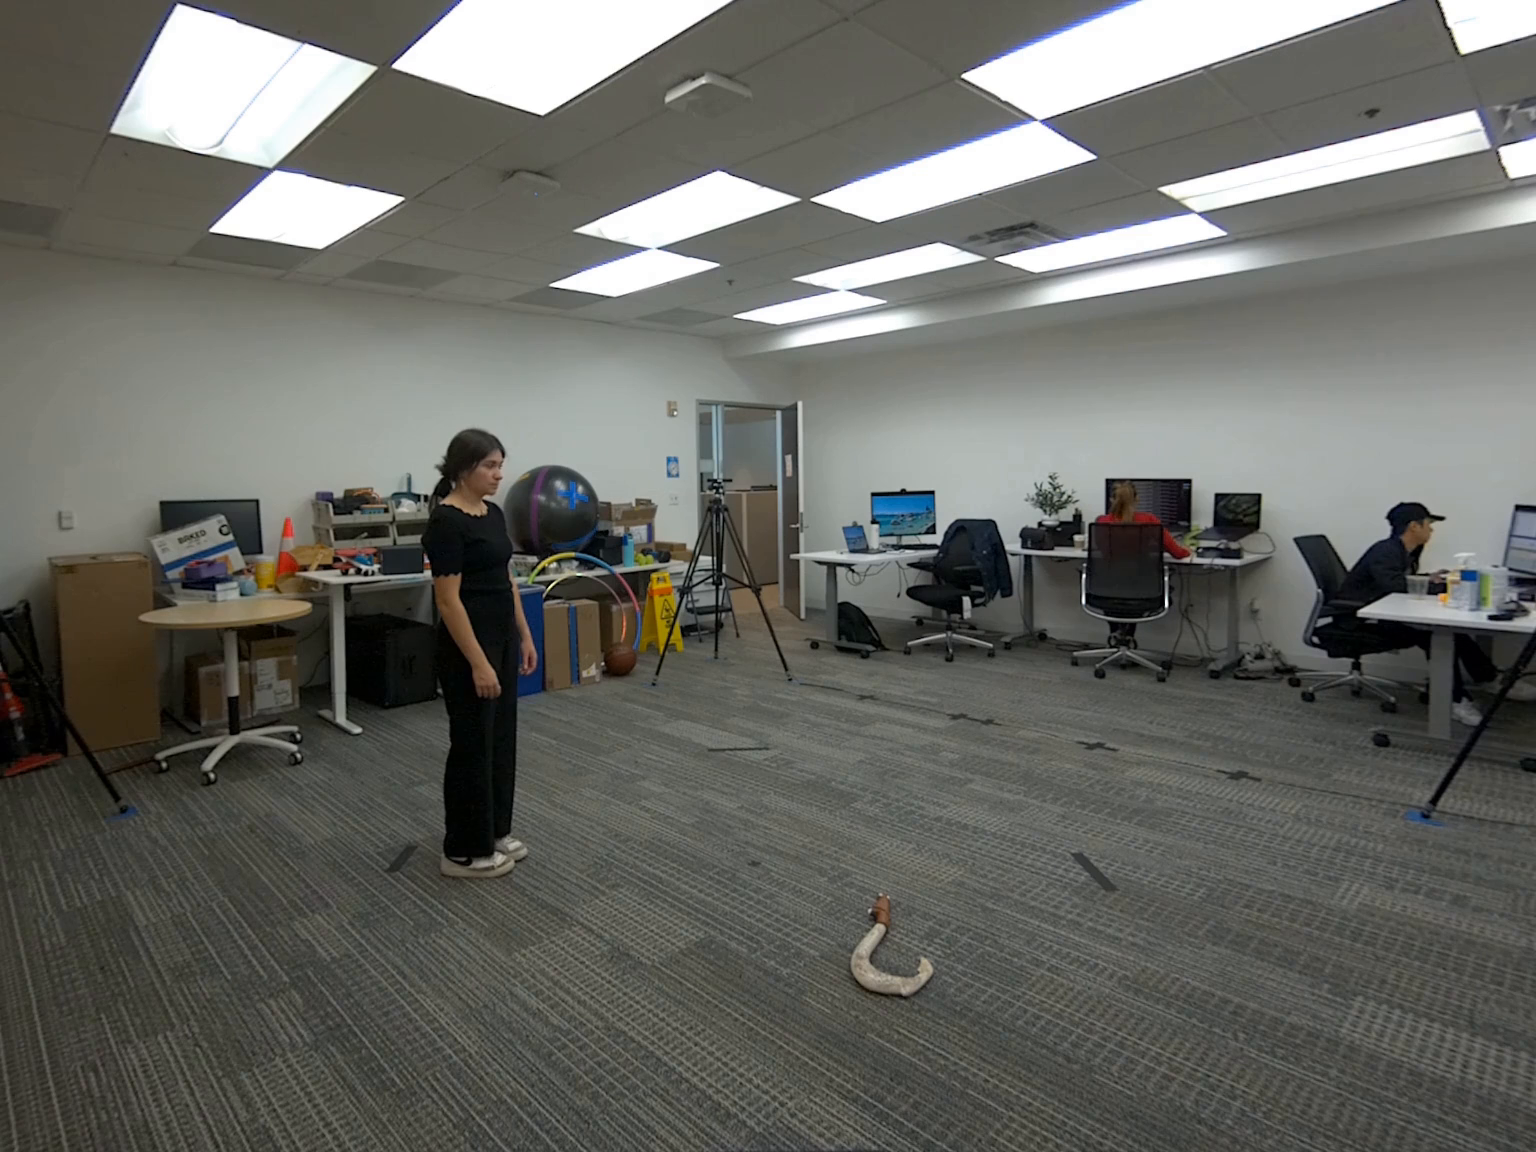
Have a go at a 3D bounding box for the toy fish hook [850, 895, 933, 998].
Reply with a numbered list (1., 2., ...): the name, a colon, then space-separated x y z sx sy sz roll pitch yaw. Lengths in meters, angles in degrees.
1. toy fish hook: 0.379 1.086 2.537 0.228 0.048 0.502 8 10 12
